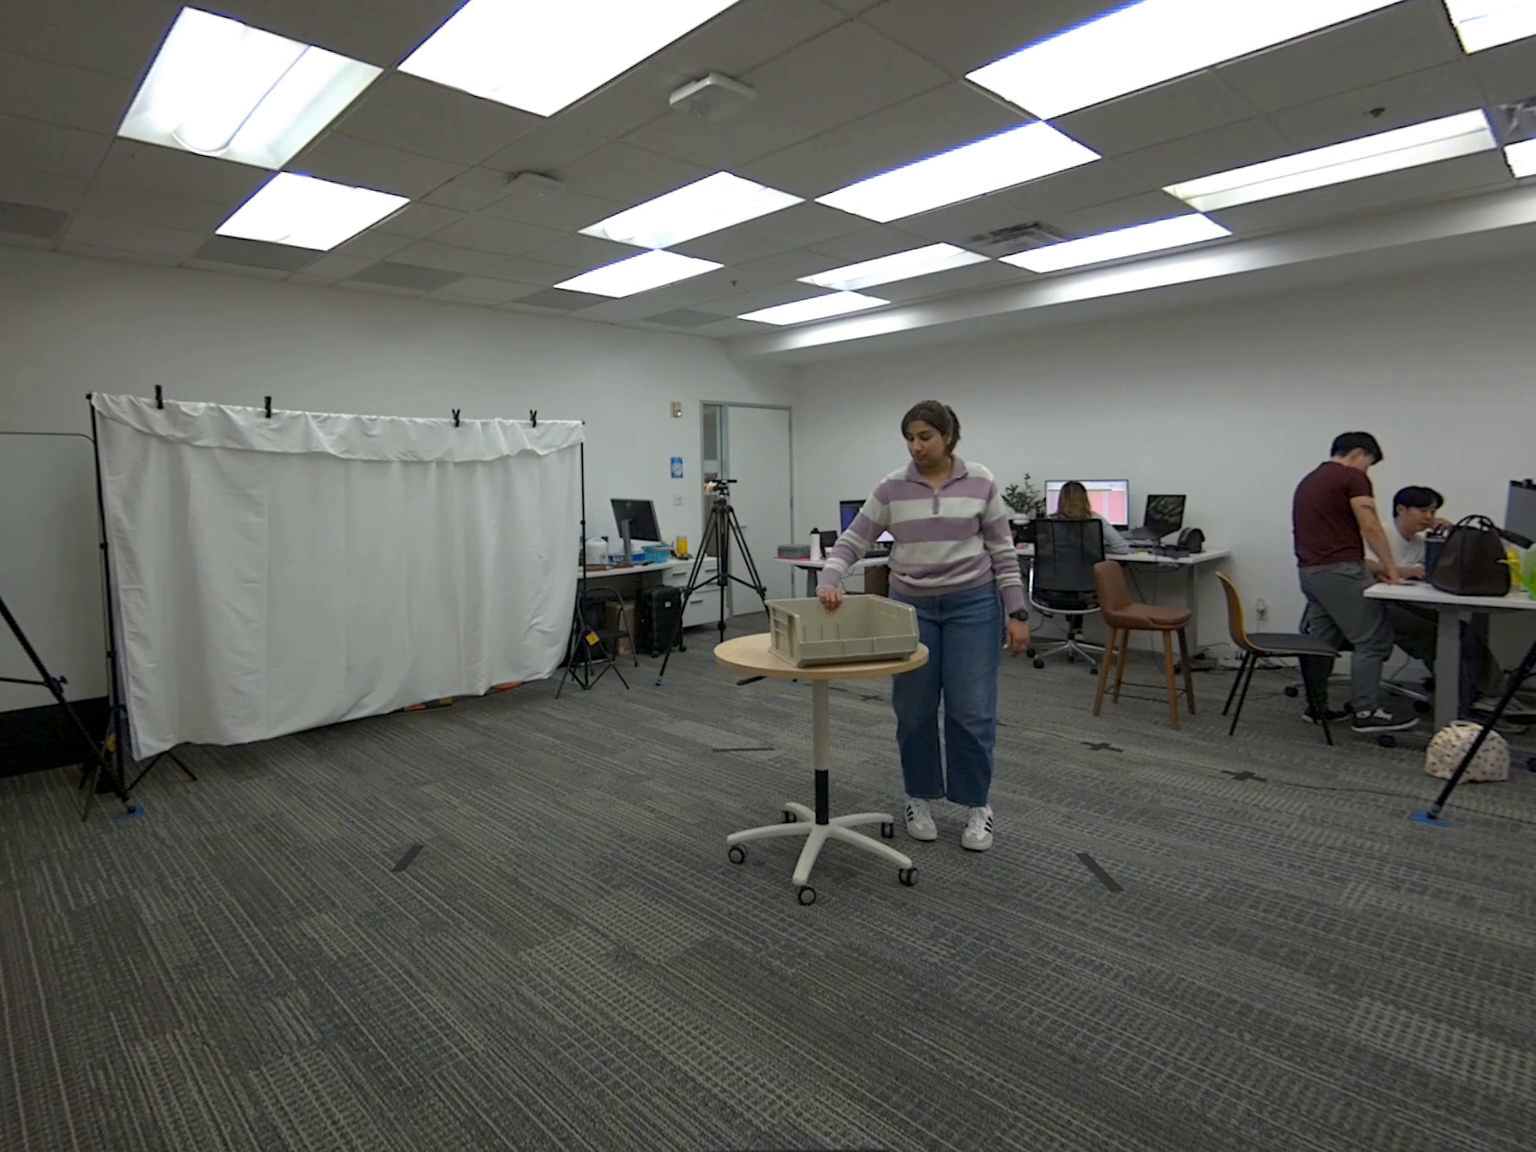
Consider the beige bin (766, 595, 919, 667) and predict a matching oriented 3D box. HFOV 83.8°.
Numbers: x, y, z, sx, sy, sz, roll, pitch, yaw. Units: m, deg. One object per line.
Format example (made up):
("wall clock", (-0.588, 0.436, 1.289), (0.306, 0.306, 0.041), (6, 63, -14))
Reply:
("beige bin", (0.241, 0.183, 2.935), (0.417, 0.188, 0.383), (-3, 4, -13))
